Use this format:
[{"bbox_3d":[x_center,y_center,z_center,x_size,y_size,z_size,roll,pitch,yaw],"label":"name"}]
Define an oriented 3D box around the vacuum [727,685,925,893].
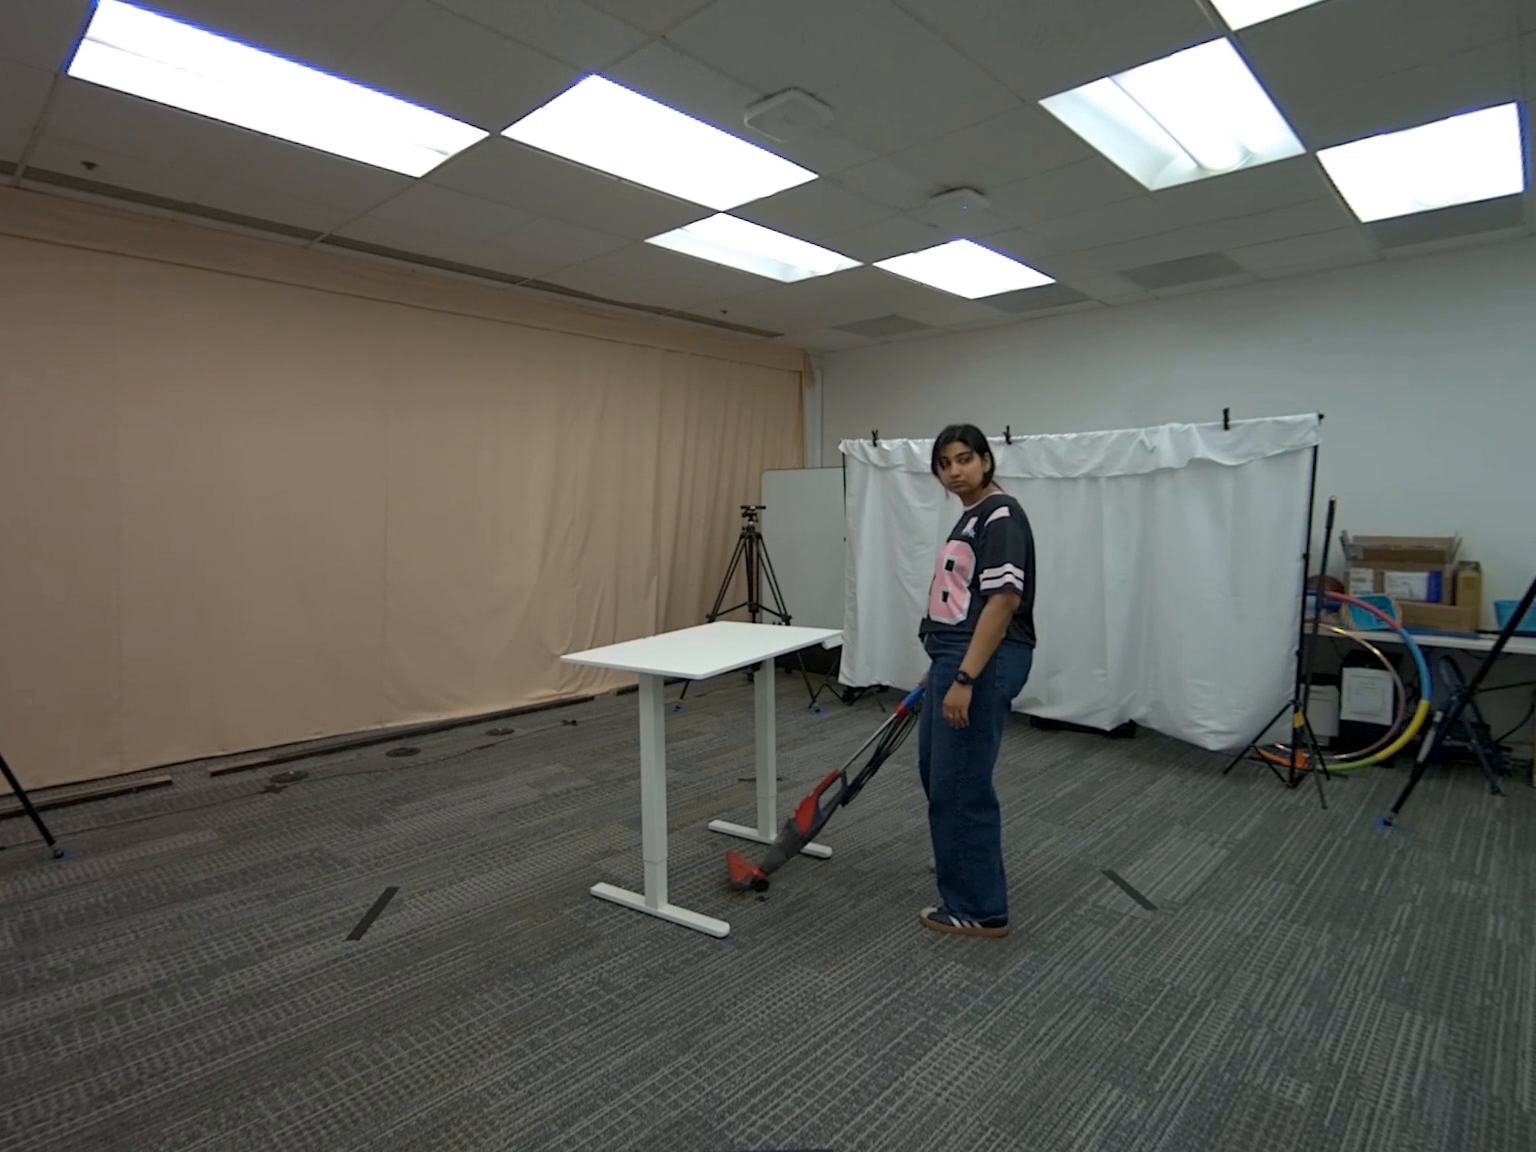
[{"bbox_3d":[0.306,0.751,3.109,1.048,0.143,0.255,-44,9,-3],"label":"vacuum"}]
